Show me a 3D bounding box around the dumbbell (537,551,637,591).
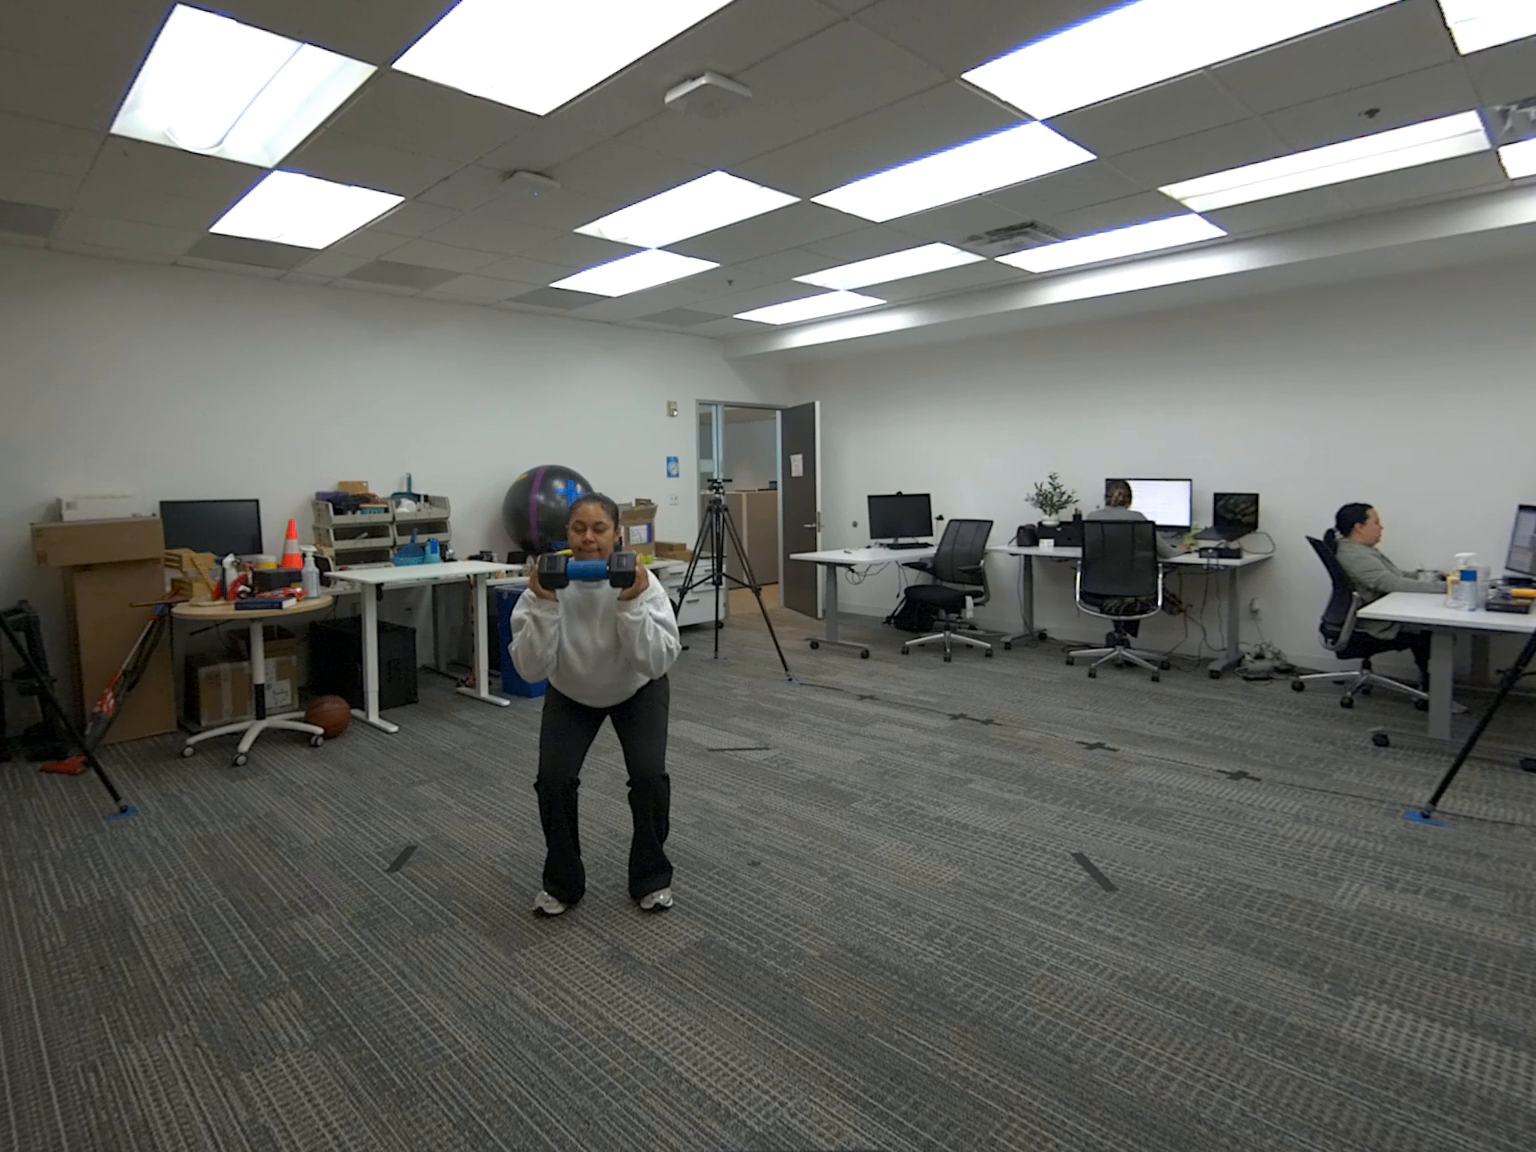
[{"bbox_3d":[-0.552,-0.015,2.606,0.294,0.126,0.106,-2,-28,1],"label":"dumbbell"}]
